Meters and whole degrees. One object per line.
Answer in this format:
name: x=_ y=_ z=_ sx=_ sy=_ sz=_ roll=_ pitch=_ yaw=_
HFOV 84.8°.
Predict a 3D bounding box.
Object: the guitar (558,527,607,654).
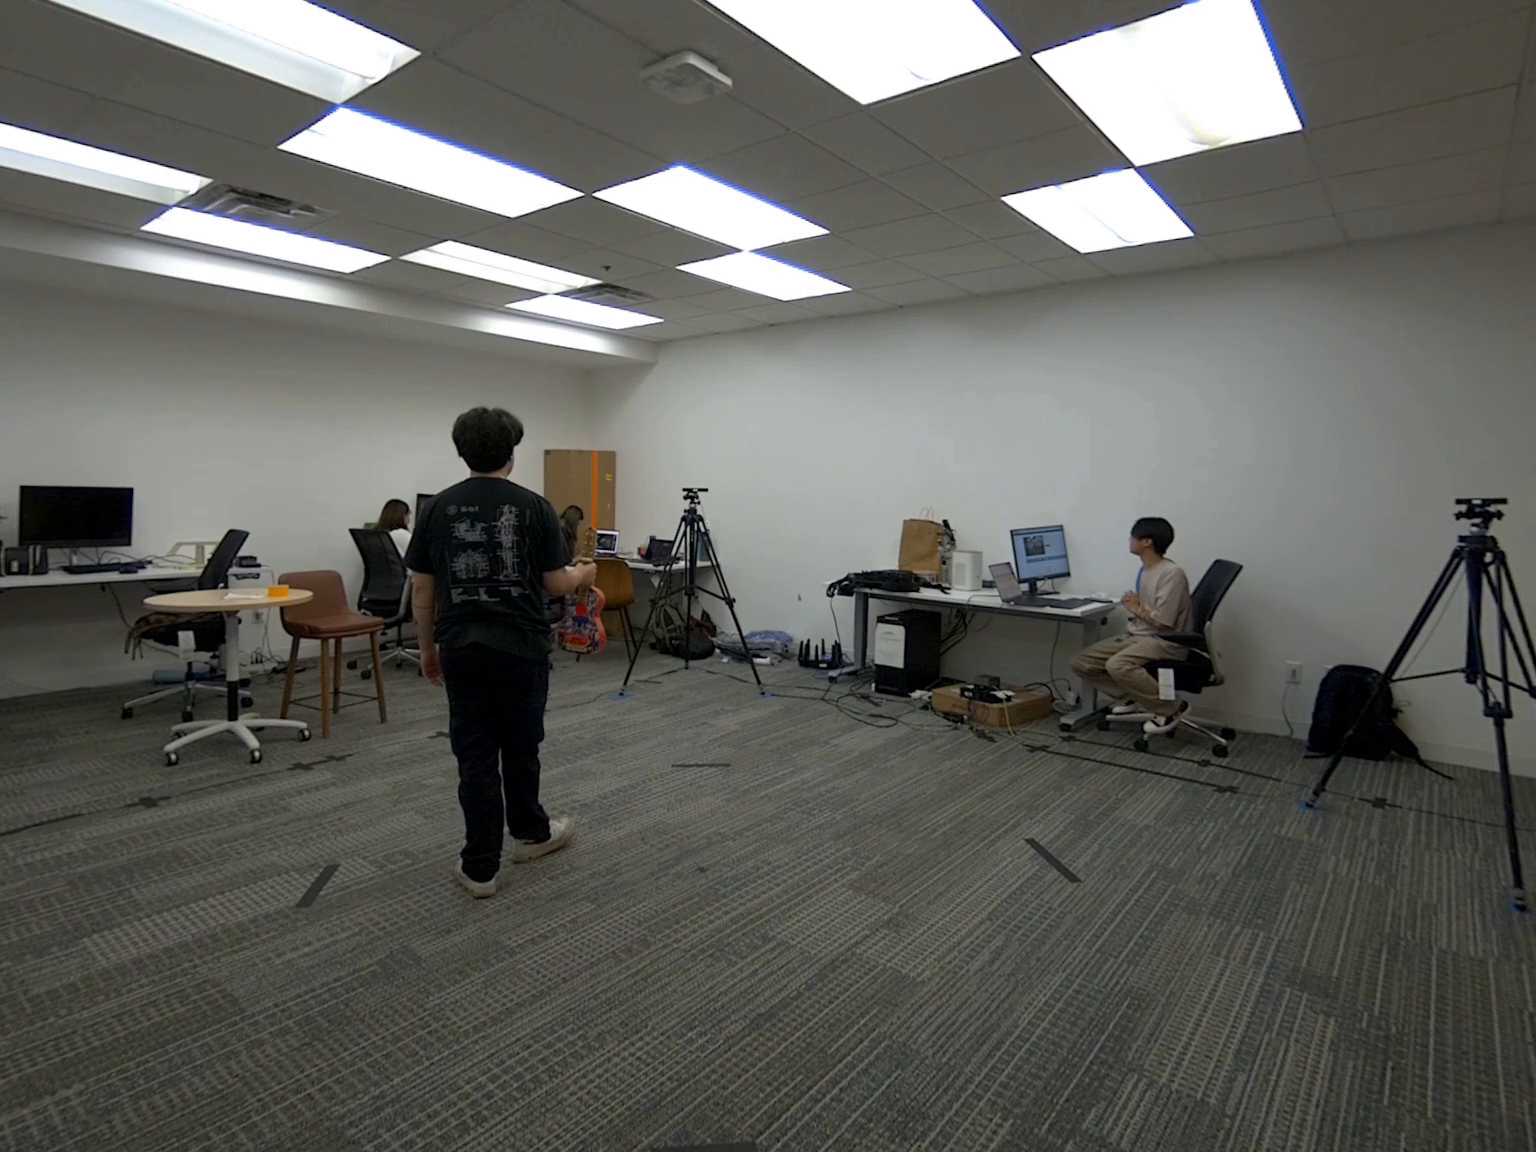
guitar: x=-0.712 y=0.067 z=3.371 sx=0.196 sy=0.498 sz=0.069 roll=15 pitch=0 yaw=13
